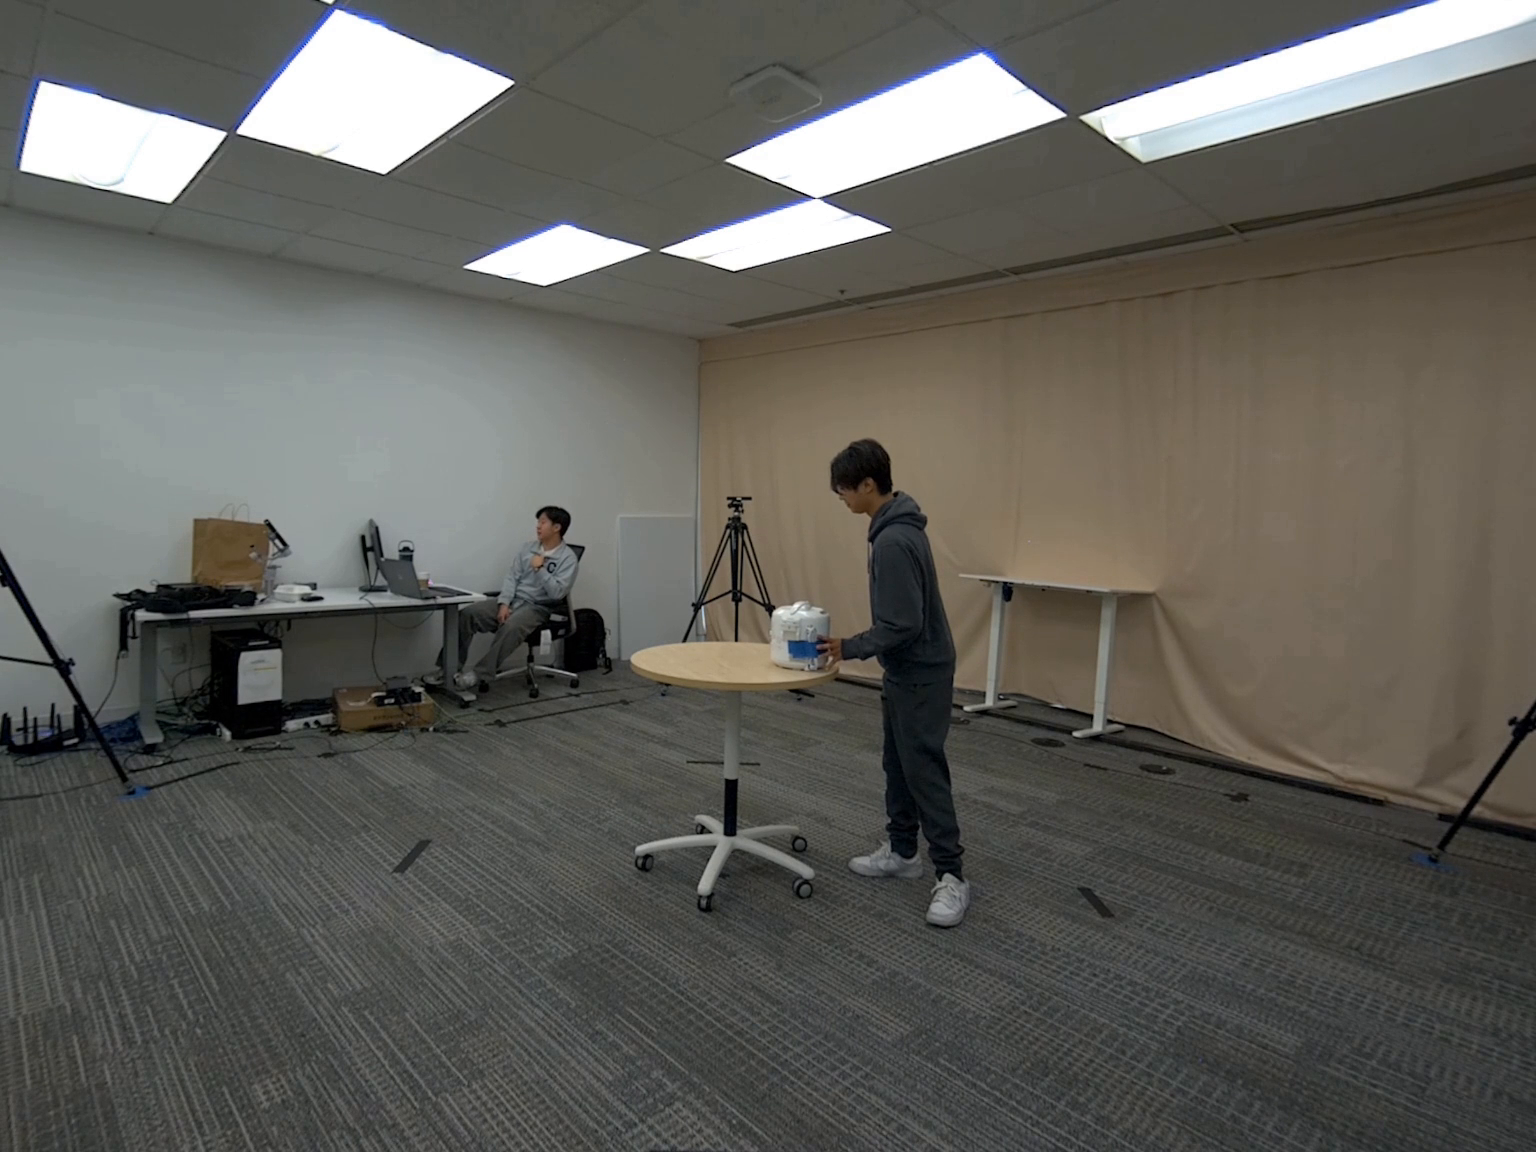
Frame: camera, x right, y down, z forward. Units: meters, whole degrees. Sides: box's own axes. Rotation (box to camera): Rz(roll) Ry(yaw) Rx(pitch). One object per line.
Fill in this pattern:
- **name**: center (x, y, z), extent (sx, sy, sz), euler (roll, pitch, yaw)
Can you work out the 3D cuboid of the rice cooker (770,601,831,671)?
- **rice cooker**: center (0.112, 0.207, 3.026), extent (0.222, 0.232, 0.217), euler (5, 4, 25)
